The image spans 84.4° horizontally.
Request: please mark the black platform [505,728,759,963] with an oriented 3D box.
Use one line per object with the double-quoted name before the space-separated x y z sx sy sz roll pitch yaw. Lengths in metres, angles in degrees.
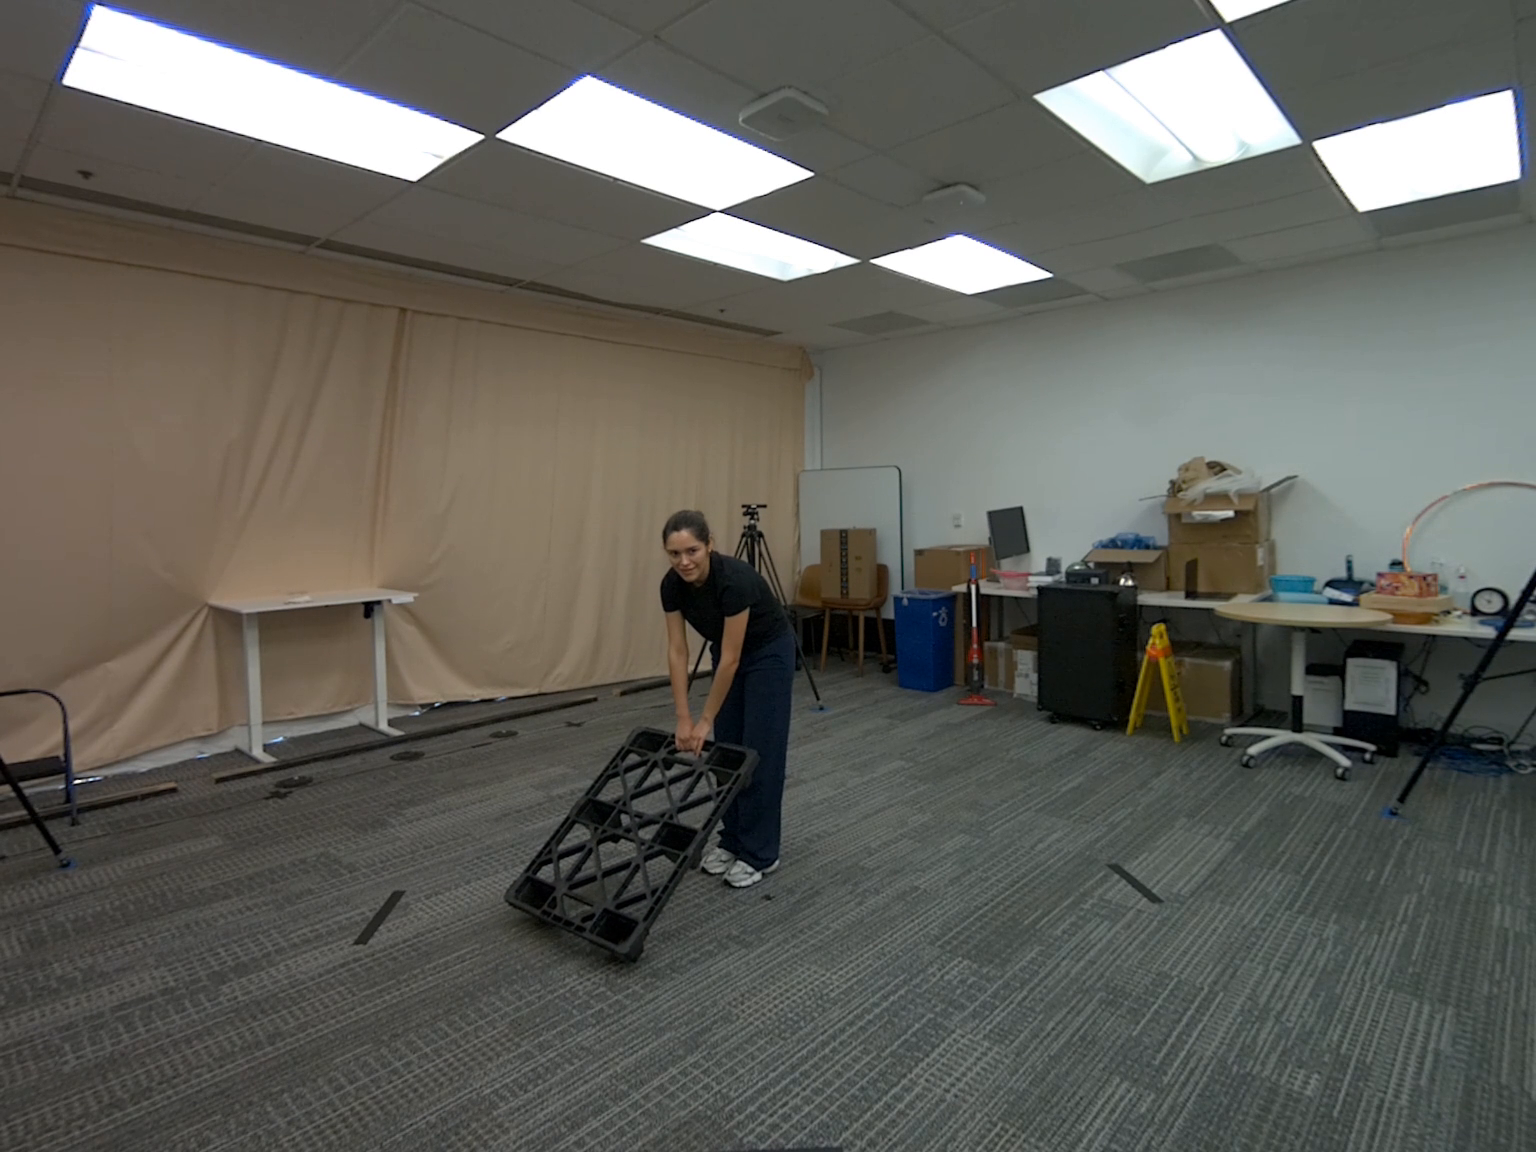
"black platform" -0.421 0.896 2.909 0.625 0.139 0.801 2 41 37
